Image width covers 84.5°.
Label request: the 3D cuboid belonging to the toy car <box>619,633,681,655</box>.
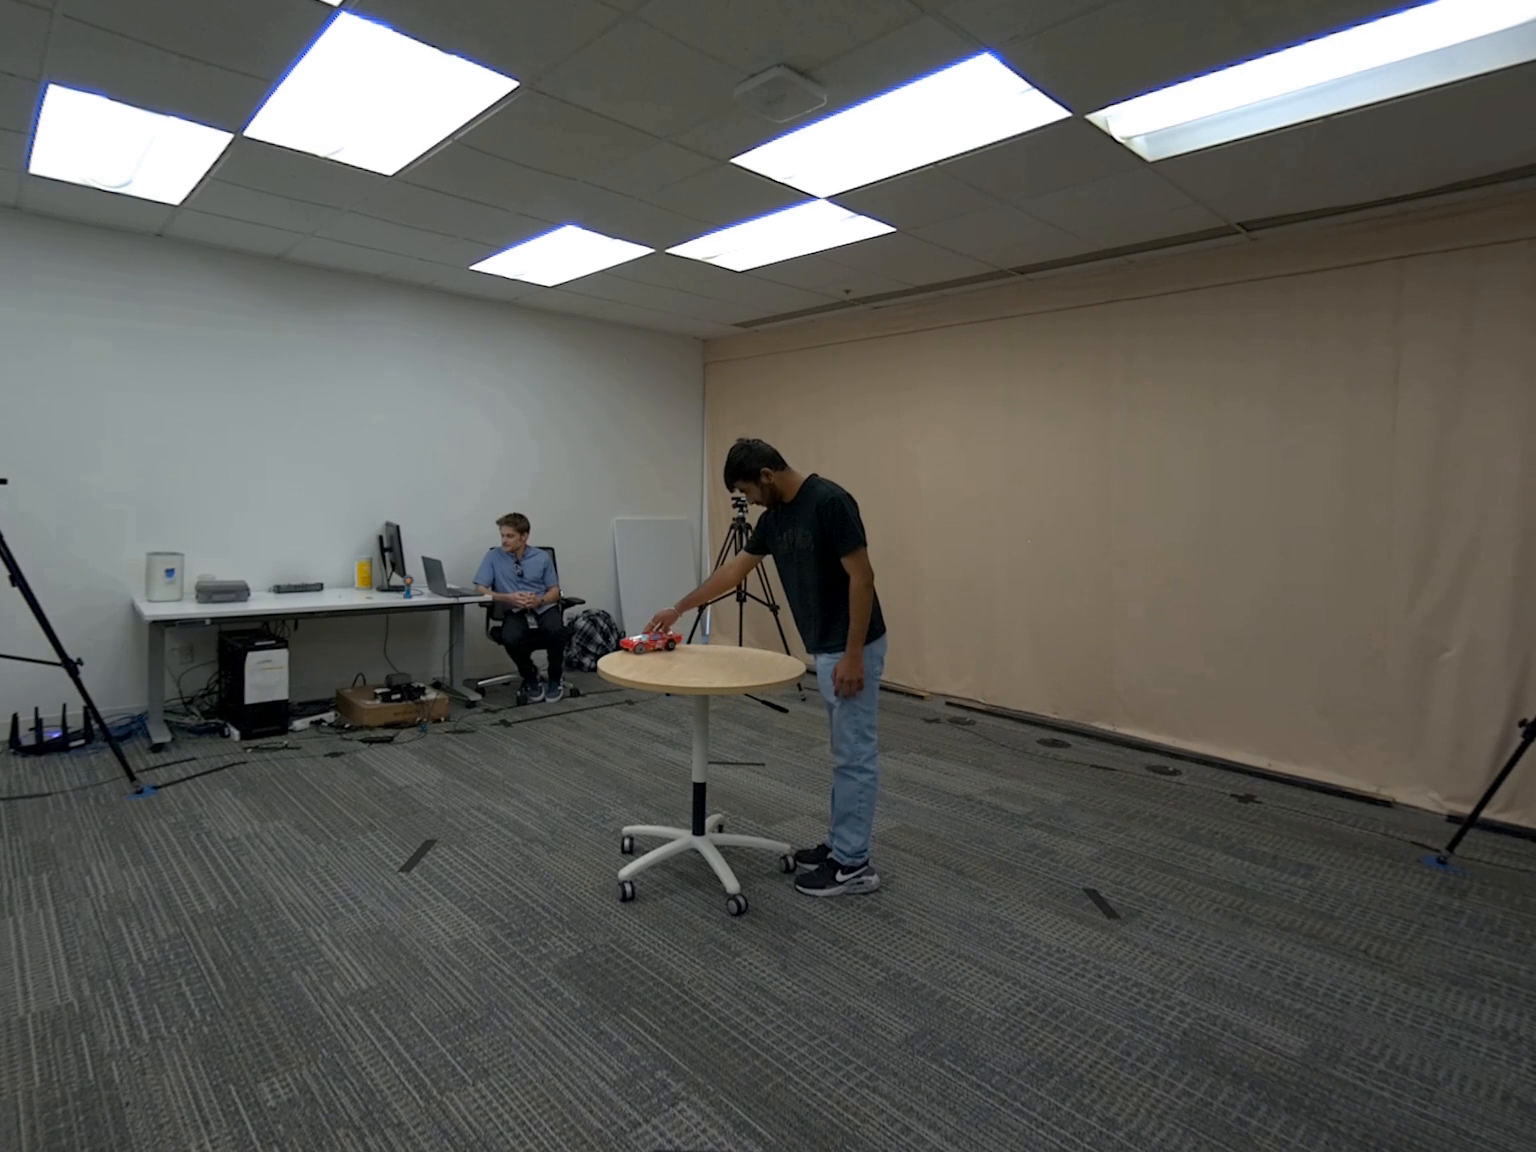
[{"bbox_3d":[-0.460,0.262,3.334,0.250,0.082,0.134,-16,16,-37],"label":"toy car"}]
